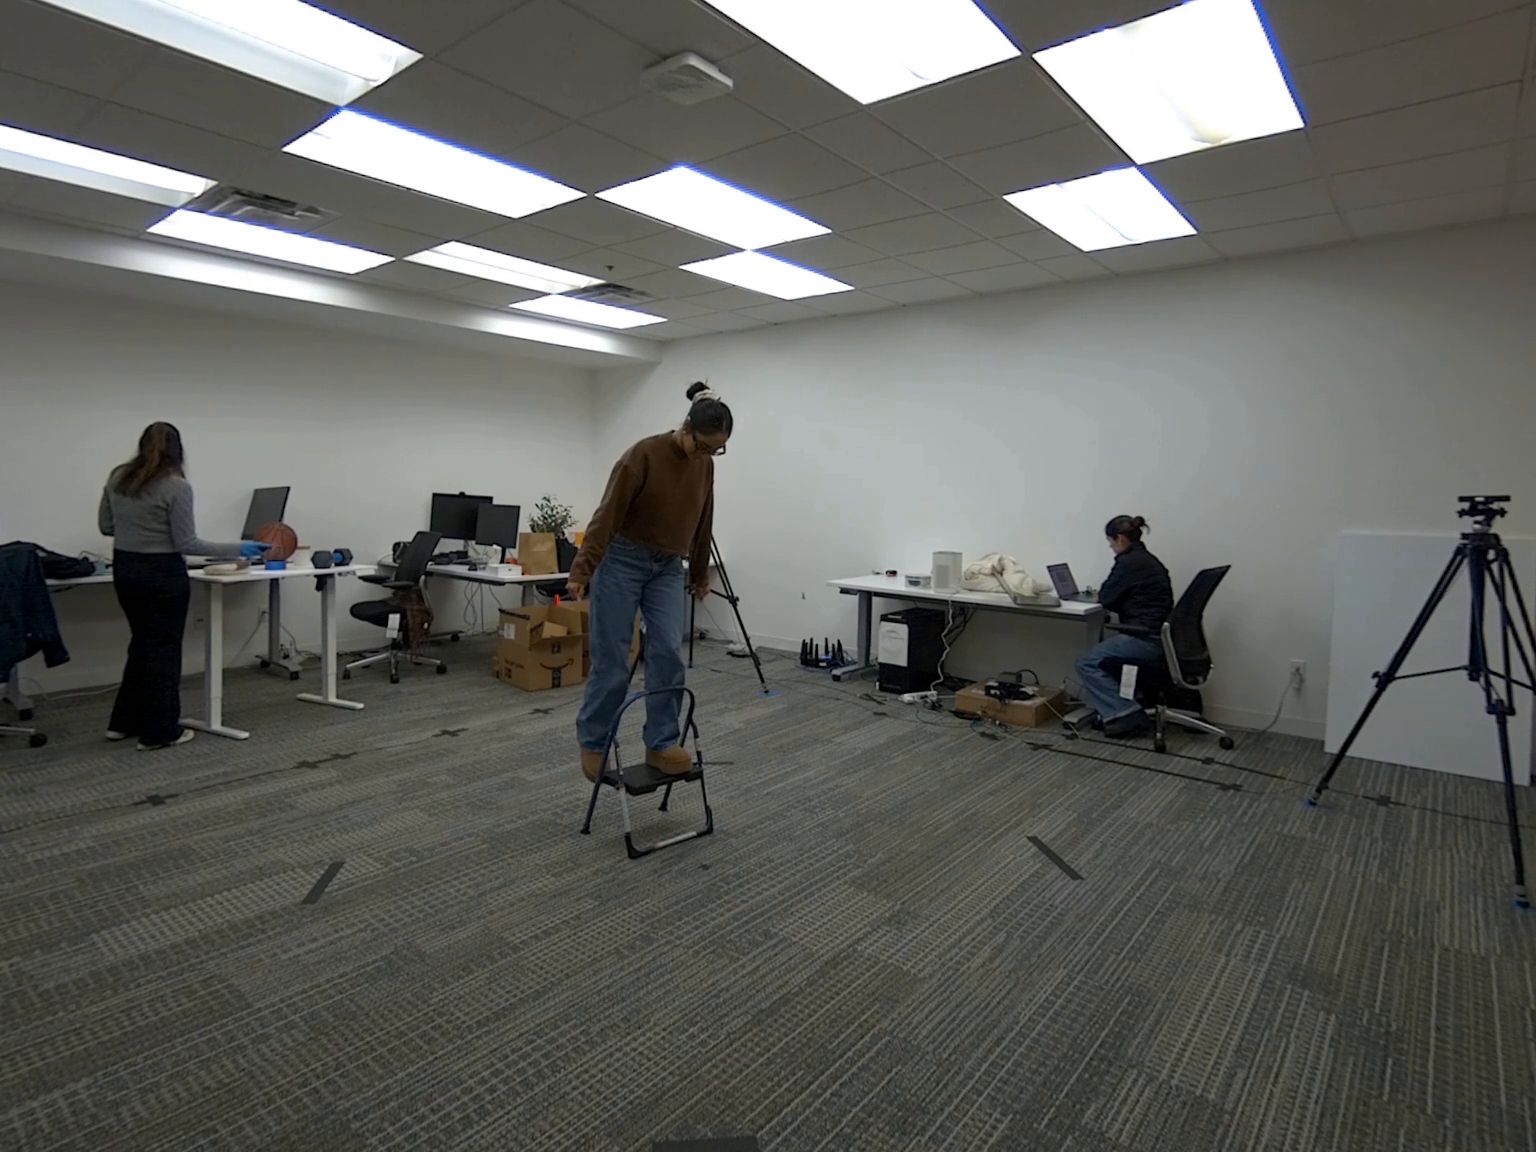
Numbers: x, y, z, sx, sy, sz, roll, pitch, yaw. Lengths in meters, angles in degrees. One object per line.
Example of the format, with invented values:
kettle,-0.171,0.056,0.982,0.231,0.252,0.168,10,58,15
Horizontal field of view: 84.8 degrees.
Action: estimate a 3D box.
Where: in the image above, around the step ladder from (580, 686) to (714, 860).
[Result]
step ladder,-0.489,0.730,3.414,0.417,0.604,0.361,-2,5,-44
